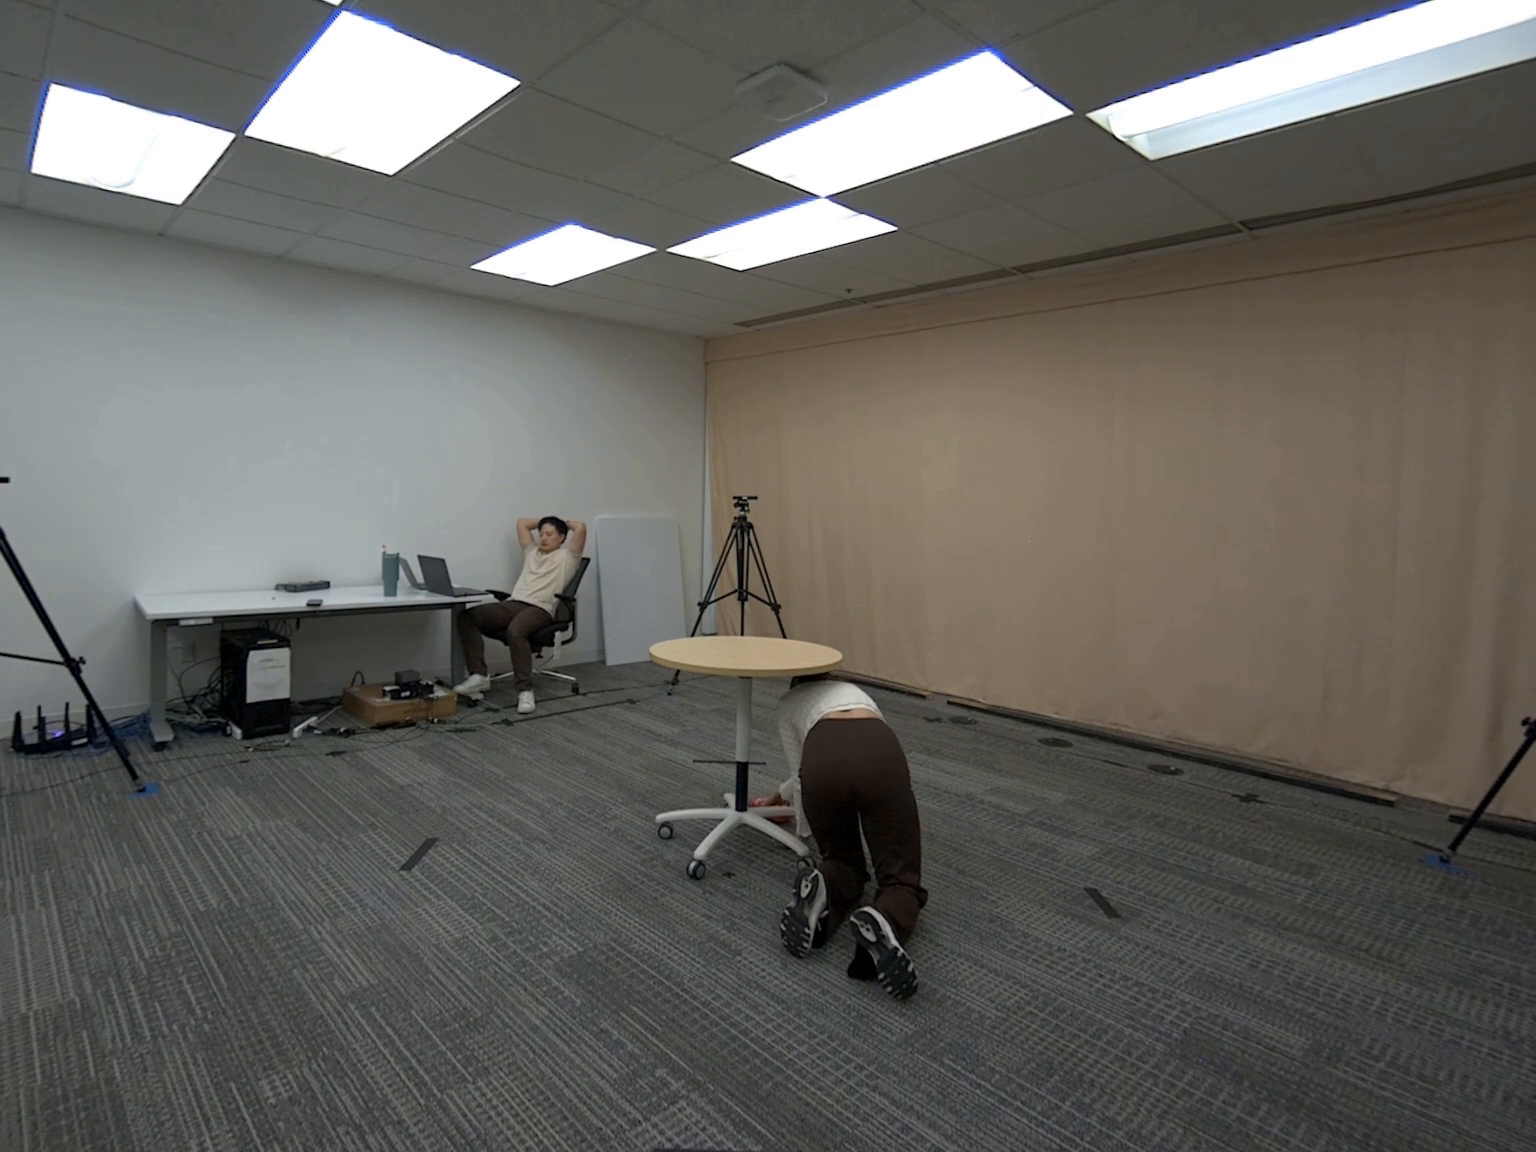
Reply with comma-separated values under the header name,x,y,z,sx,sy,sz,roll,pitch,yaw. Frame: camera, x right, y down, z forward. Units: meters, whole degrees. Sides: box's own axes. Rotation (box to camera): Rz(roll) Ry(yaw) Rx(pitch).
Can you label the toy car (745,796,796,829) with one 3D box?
name,x,y,z,sx,sy,sz,roll,pitch,yaw
toy car,0.019,1.027,3.688,0.127,0.083,0.258,1,-6,-30
